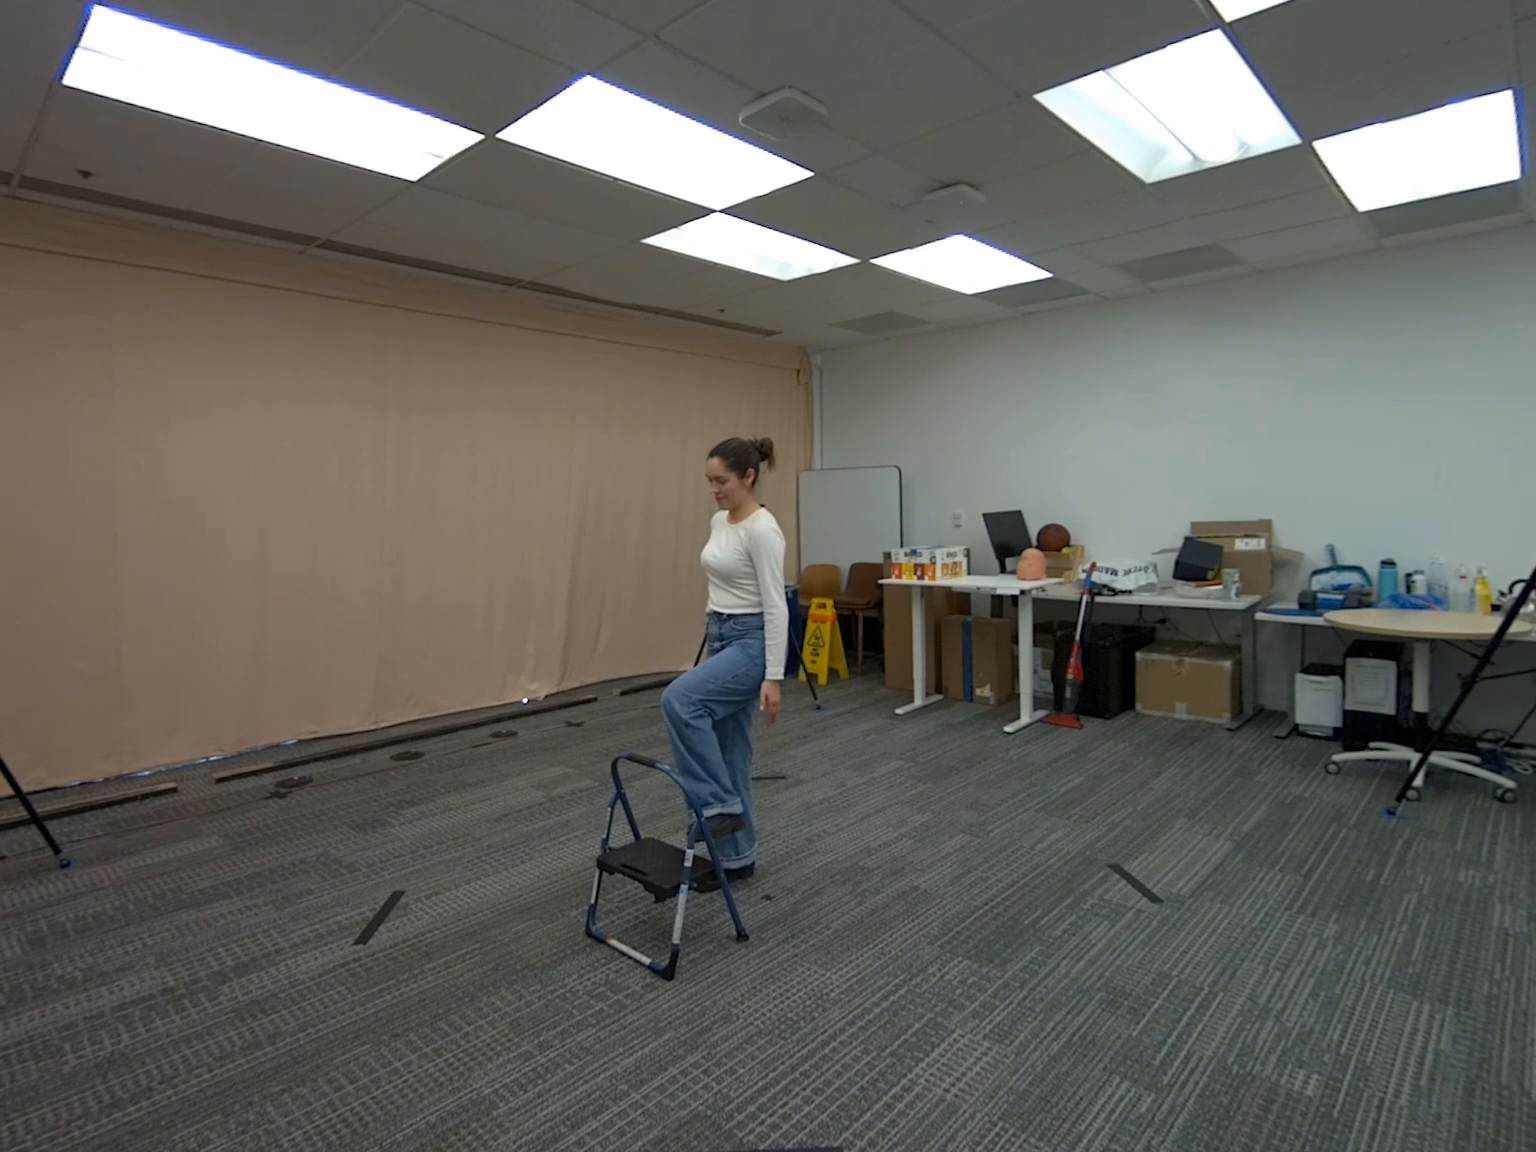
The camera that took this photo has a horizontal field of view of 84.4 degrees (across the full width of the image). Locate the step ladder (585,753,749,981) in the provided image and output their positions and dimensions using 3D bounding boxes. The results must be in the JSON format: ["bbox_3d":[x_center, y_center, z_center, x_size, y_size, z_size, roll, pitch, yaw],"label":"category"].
[{"bbox_3d":[-0.337,0.866,2.716,0.445,0.605,0.338,2,4,42],"label":"step ladder"}]
